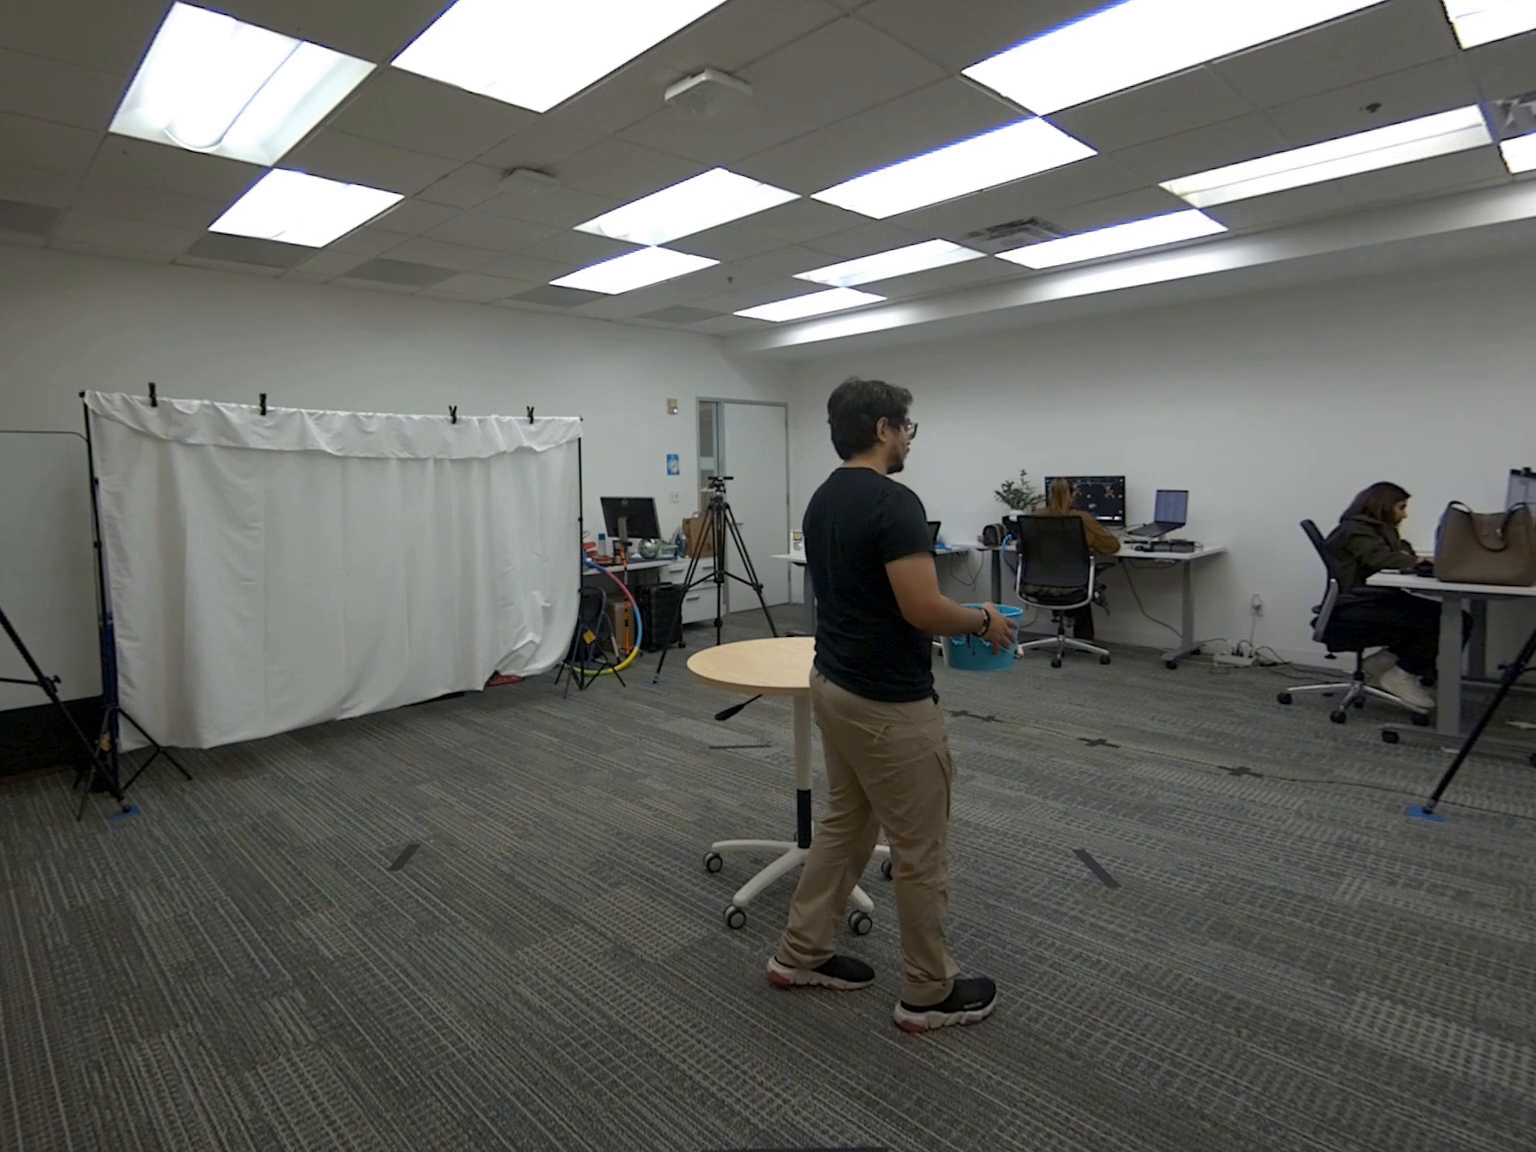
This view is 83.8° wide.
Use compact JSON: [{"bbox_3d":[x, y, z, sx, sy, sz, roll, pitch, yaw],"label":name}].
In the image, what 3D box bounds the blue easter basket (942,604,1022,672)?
[{"bbox_3d":[0.589,0.172,2.323,0.243,0.155,0.244,-3,4,-1],"label":"blue easter basket"}]
